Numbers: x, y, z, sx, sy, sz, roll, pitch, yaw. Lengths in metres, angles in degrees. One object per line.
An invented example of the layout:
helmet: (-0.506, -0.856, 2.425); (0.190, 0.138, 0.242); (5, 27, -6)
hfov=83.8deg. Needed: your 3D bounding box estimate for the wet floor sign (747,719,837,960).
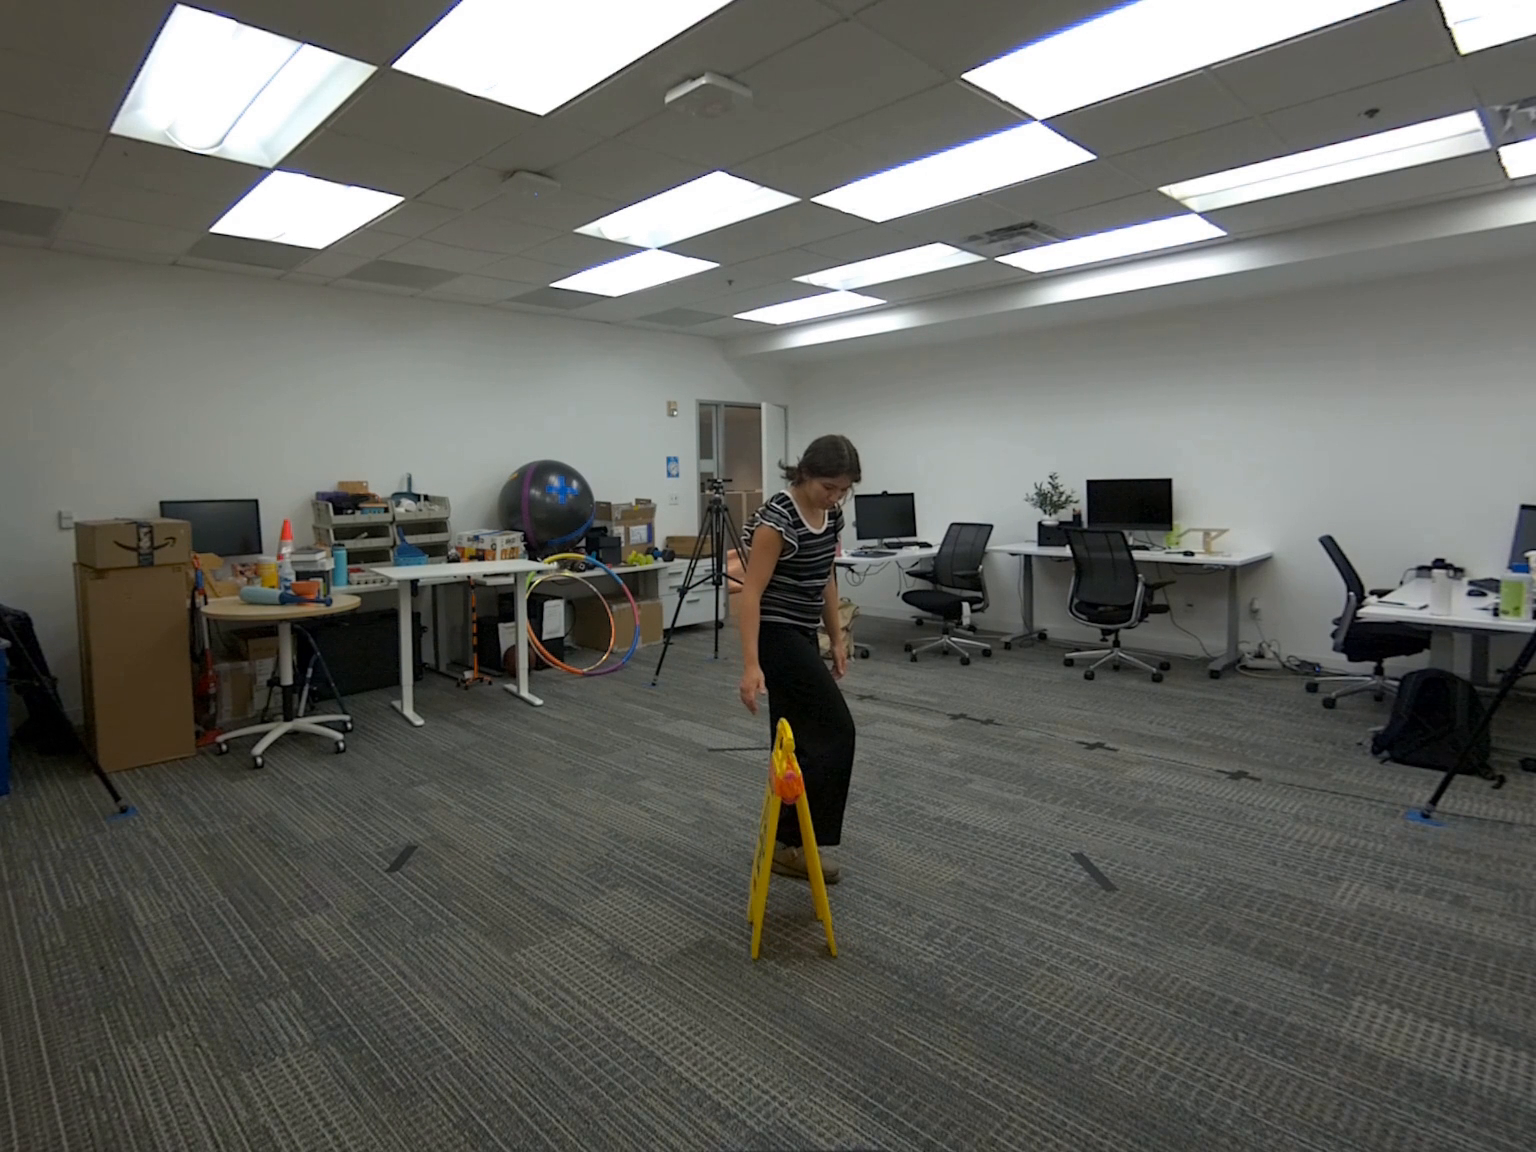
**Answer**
wet floor sign: (0.059, 0.783, 2.592); (0.289, 0.644, 0.284); (-3, 3, -3)
